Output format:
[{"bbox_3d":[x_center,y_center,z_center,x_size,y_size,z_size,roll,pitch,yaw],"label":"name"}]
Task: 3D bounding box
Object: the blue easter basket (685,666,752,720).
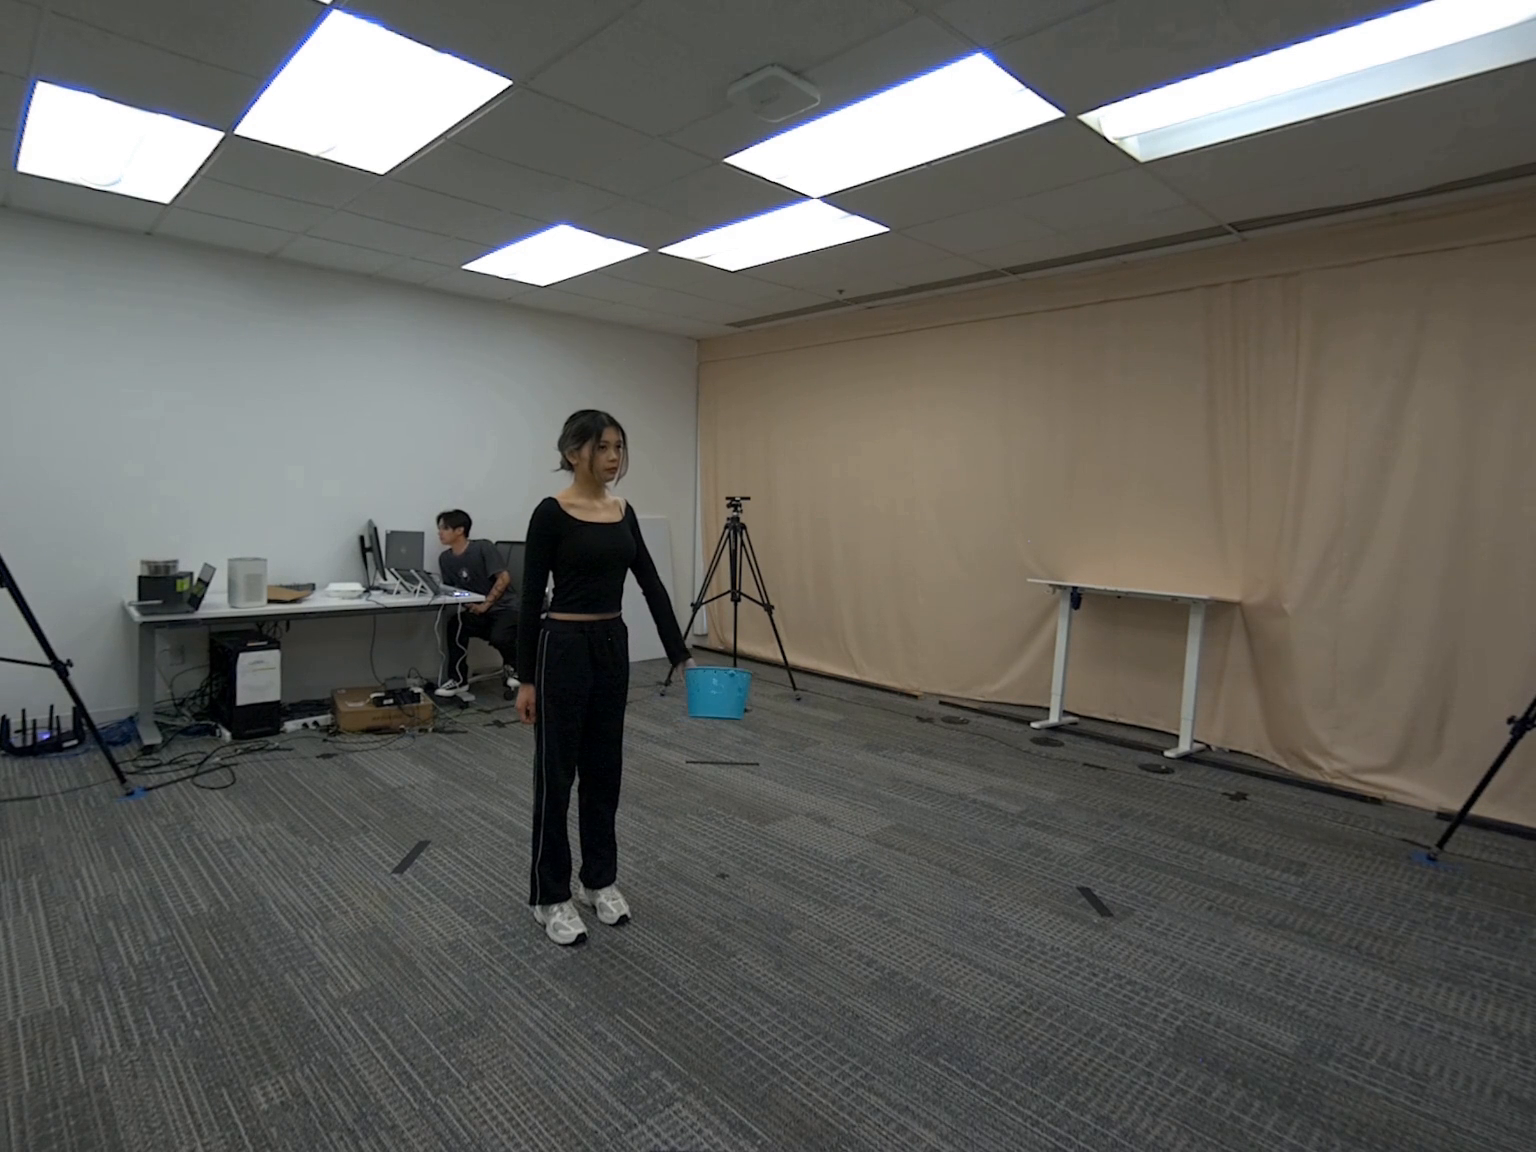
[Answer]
[{"bbox_3d":[-0.172,0.383,2.753,0.243,0.157,0.242,3,-10,-1],"label":"blue easter basket"}]
